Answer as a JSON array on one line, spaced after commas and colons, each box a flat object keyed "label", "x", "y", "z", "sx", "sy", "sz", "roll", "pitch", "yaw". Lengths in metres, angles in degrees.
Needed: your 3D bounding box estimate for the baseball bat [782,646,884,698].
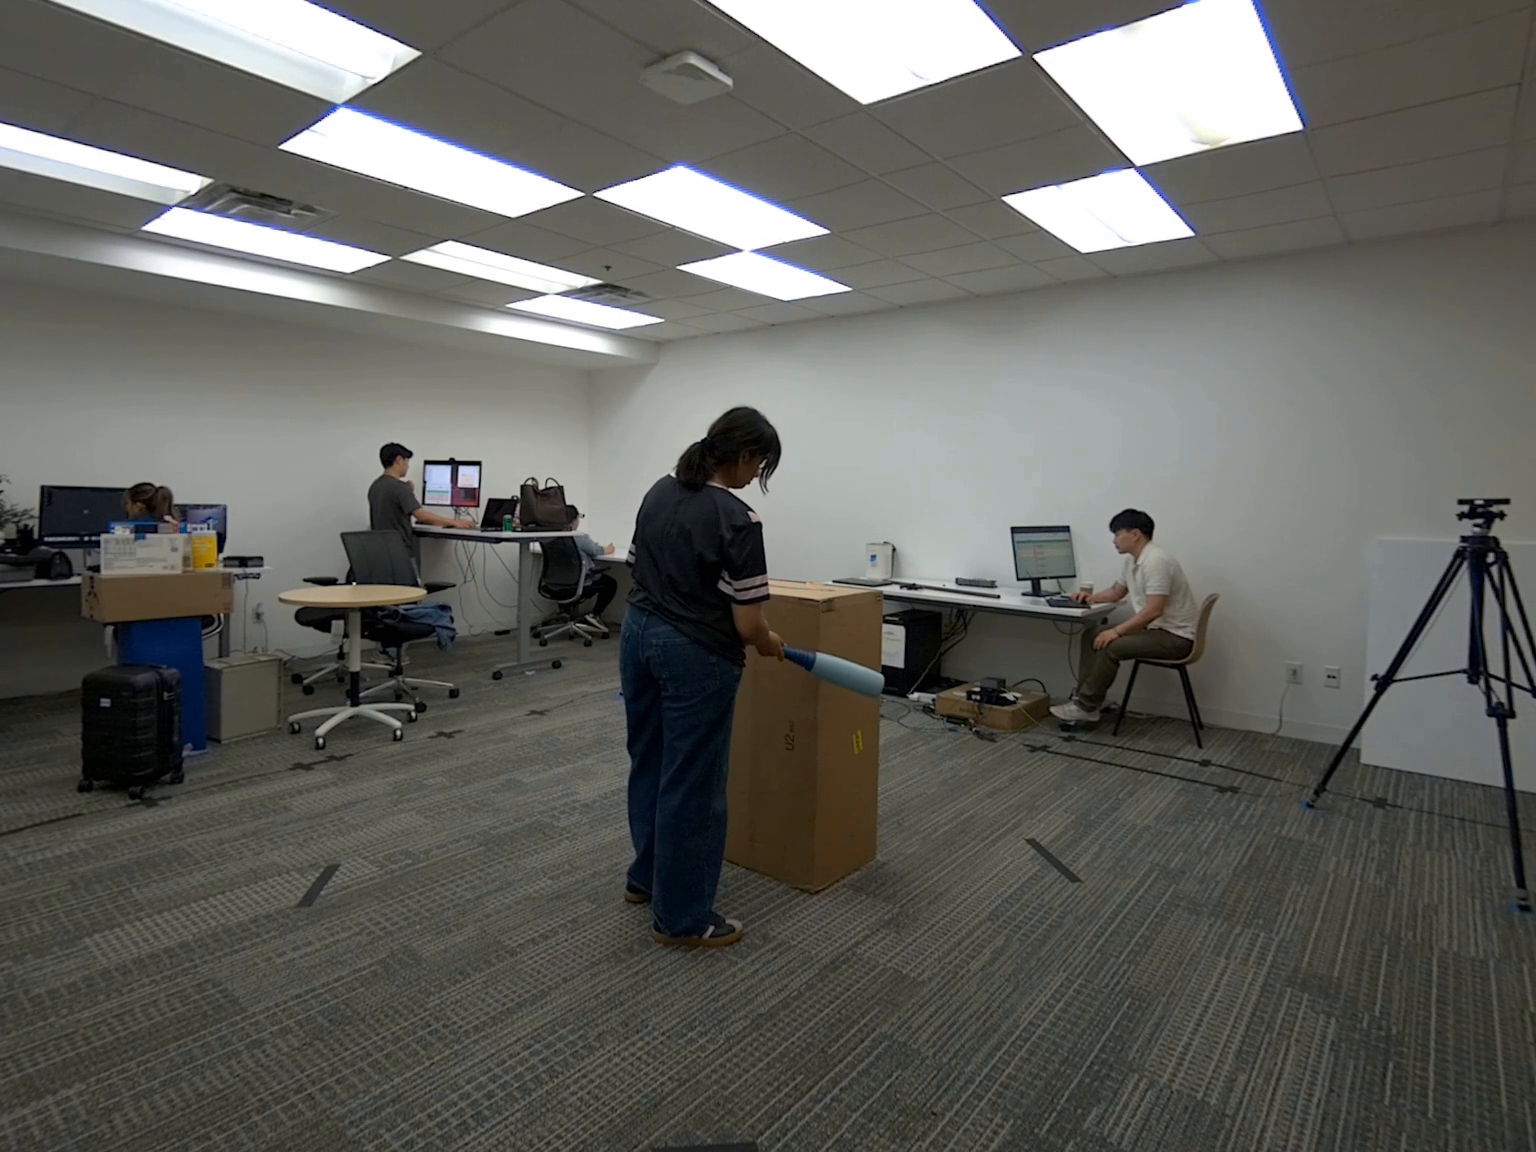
[{"label": "baseball bat", "x": 0.122, "y": 0.278, "z": 2.810, "sx": 0.540, "sy": 0.089, "sz": 0.089, "roll": 21, "pitch": 2, "yaw": -3}]
